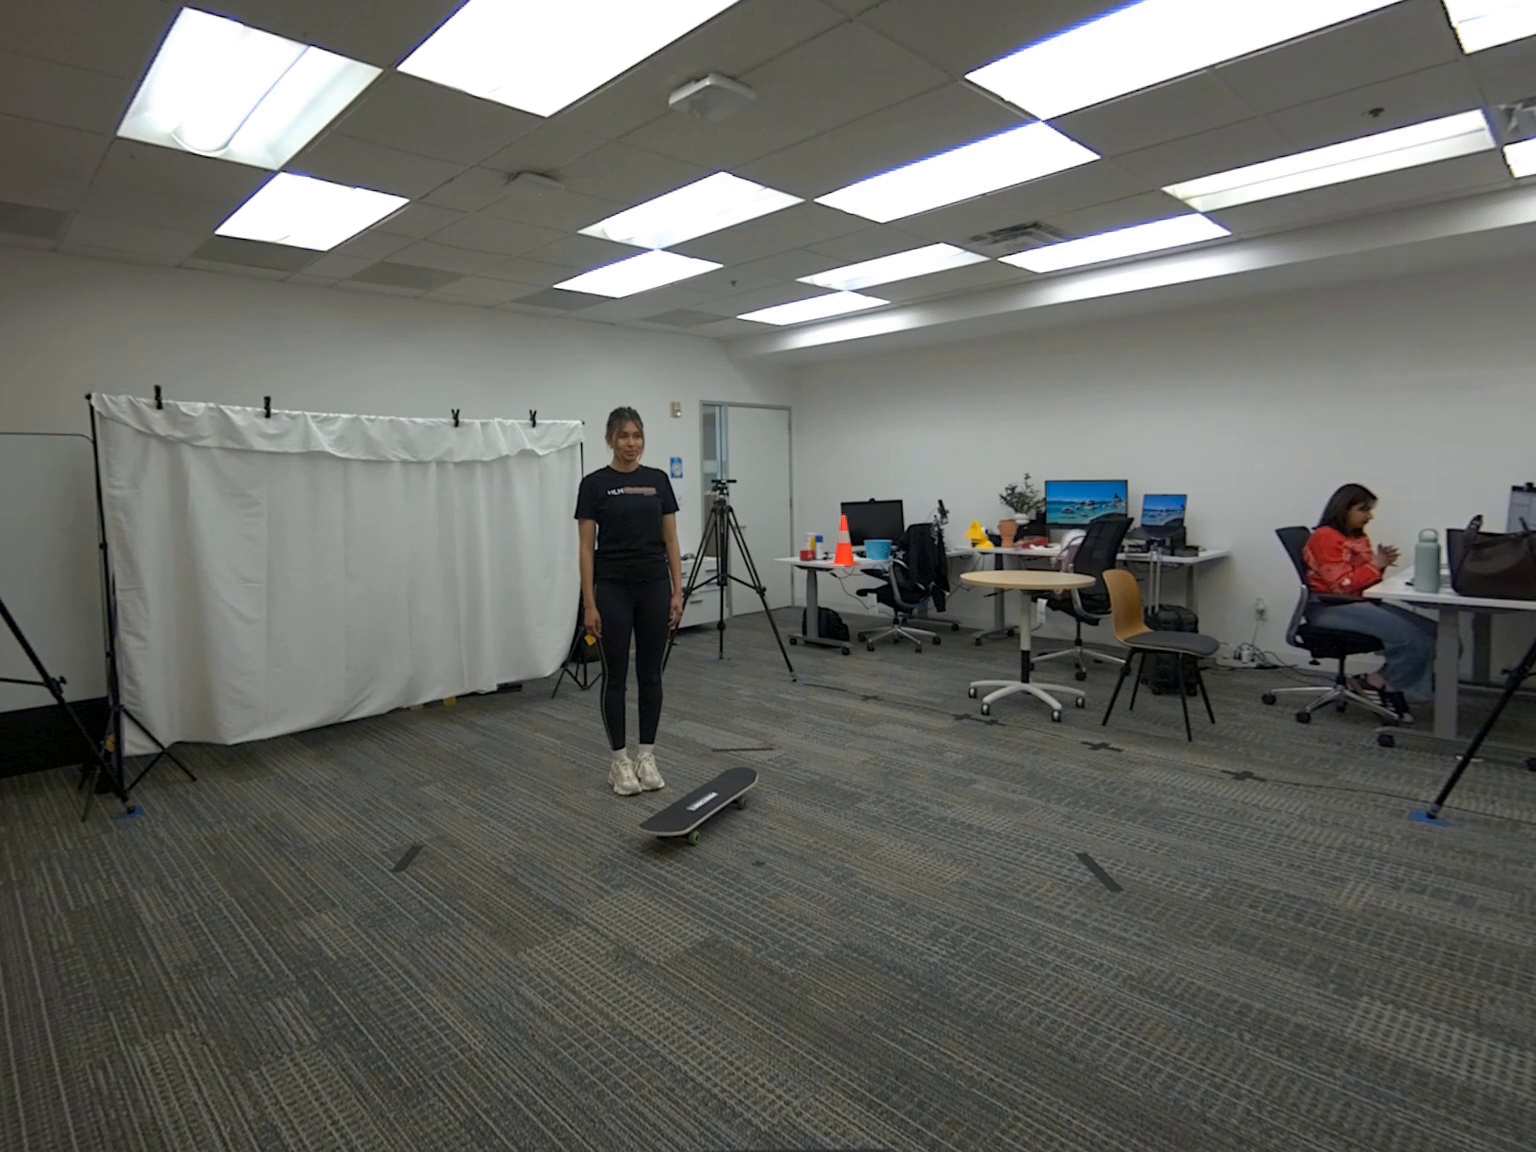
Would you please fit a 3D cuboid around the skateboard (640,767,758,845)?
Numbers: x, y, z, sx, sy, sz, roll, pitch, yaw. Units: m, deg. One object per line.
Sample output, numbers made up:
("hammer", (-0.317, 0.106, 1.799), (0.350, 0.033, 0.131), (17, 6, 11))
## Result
("skateboard", (-0.266, 0.949, 3.495), (0.198, 0.110, 0.770), (0, 6, 26))
